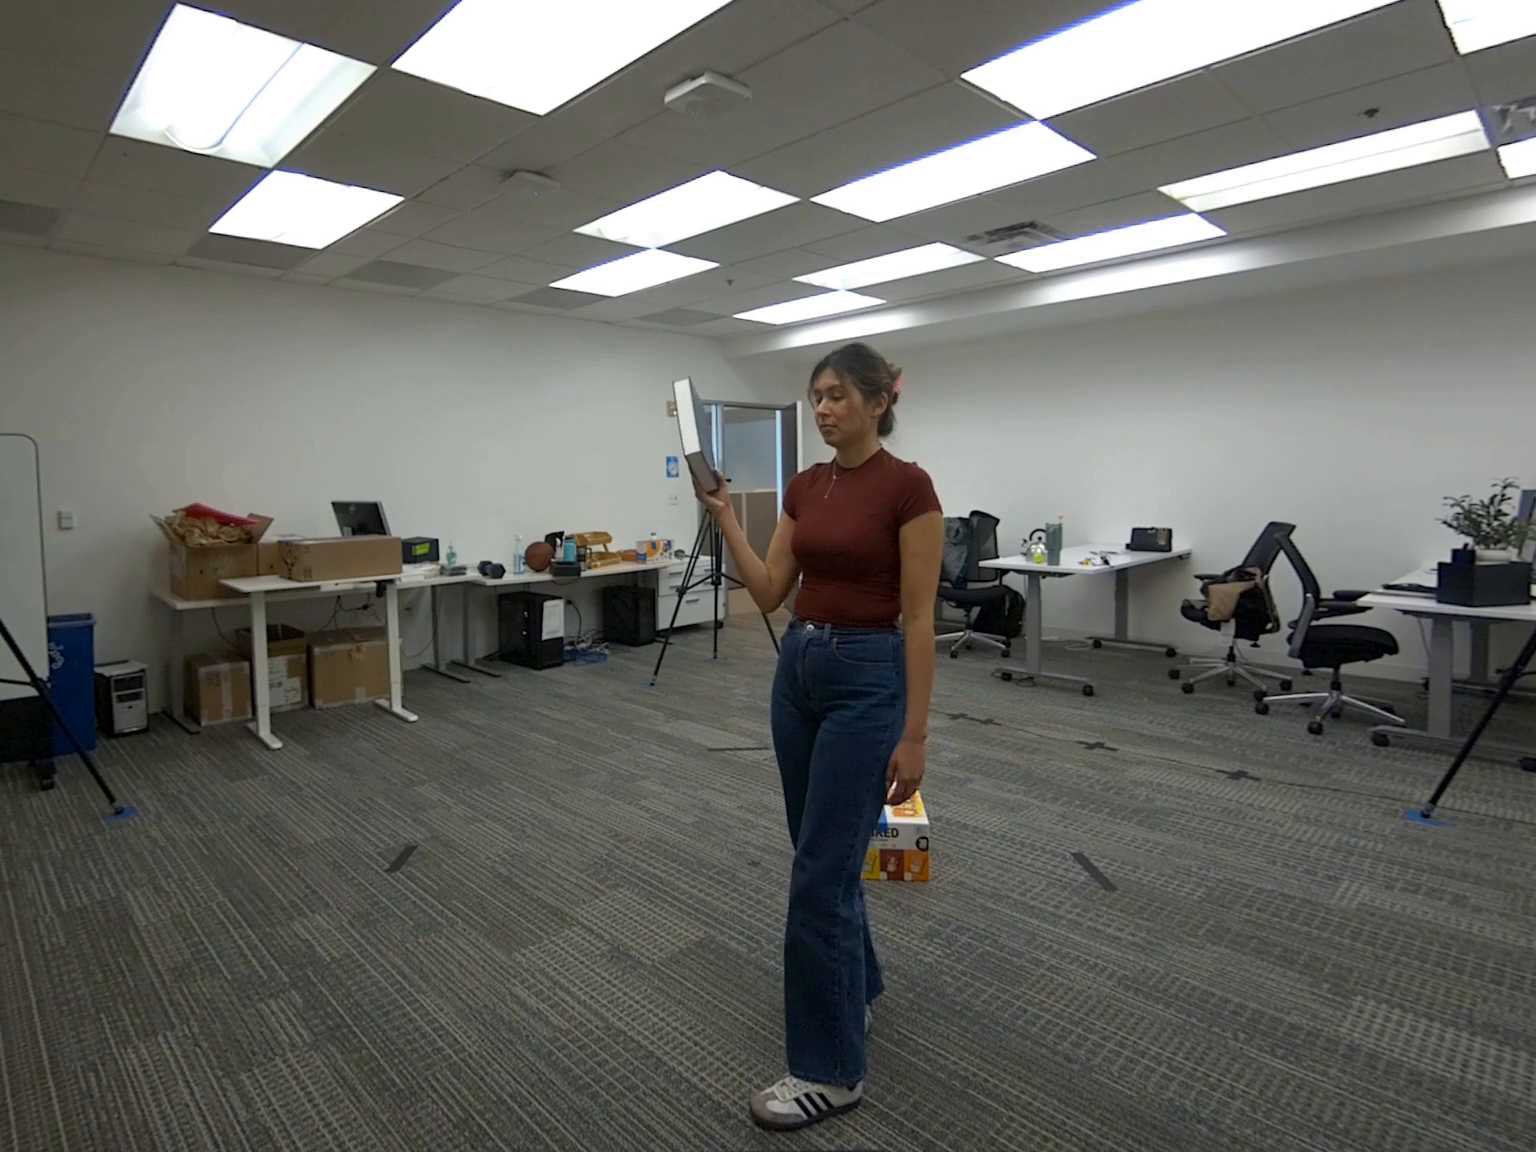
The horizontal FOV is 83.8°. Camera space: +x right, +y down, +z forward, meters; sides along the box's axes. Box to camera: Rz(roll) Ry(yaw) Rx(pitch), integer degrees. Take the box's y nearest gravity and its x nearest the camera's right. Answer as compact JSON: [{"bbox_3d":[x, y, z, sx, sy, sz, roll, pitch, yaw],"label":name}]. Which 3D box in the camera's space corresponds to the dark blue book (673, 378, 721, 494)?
[{"bbox_3d":[-0.168,-0.347,2.095,0.045,0.252,0.157,-15,-33,9],"label":"dark blue book"}]
